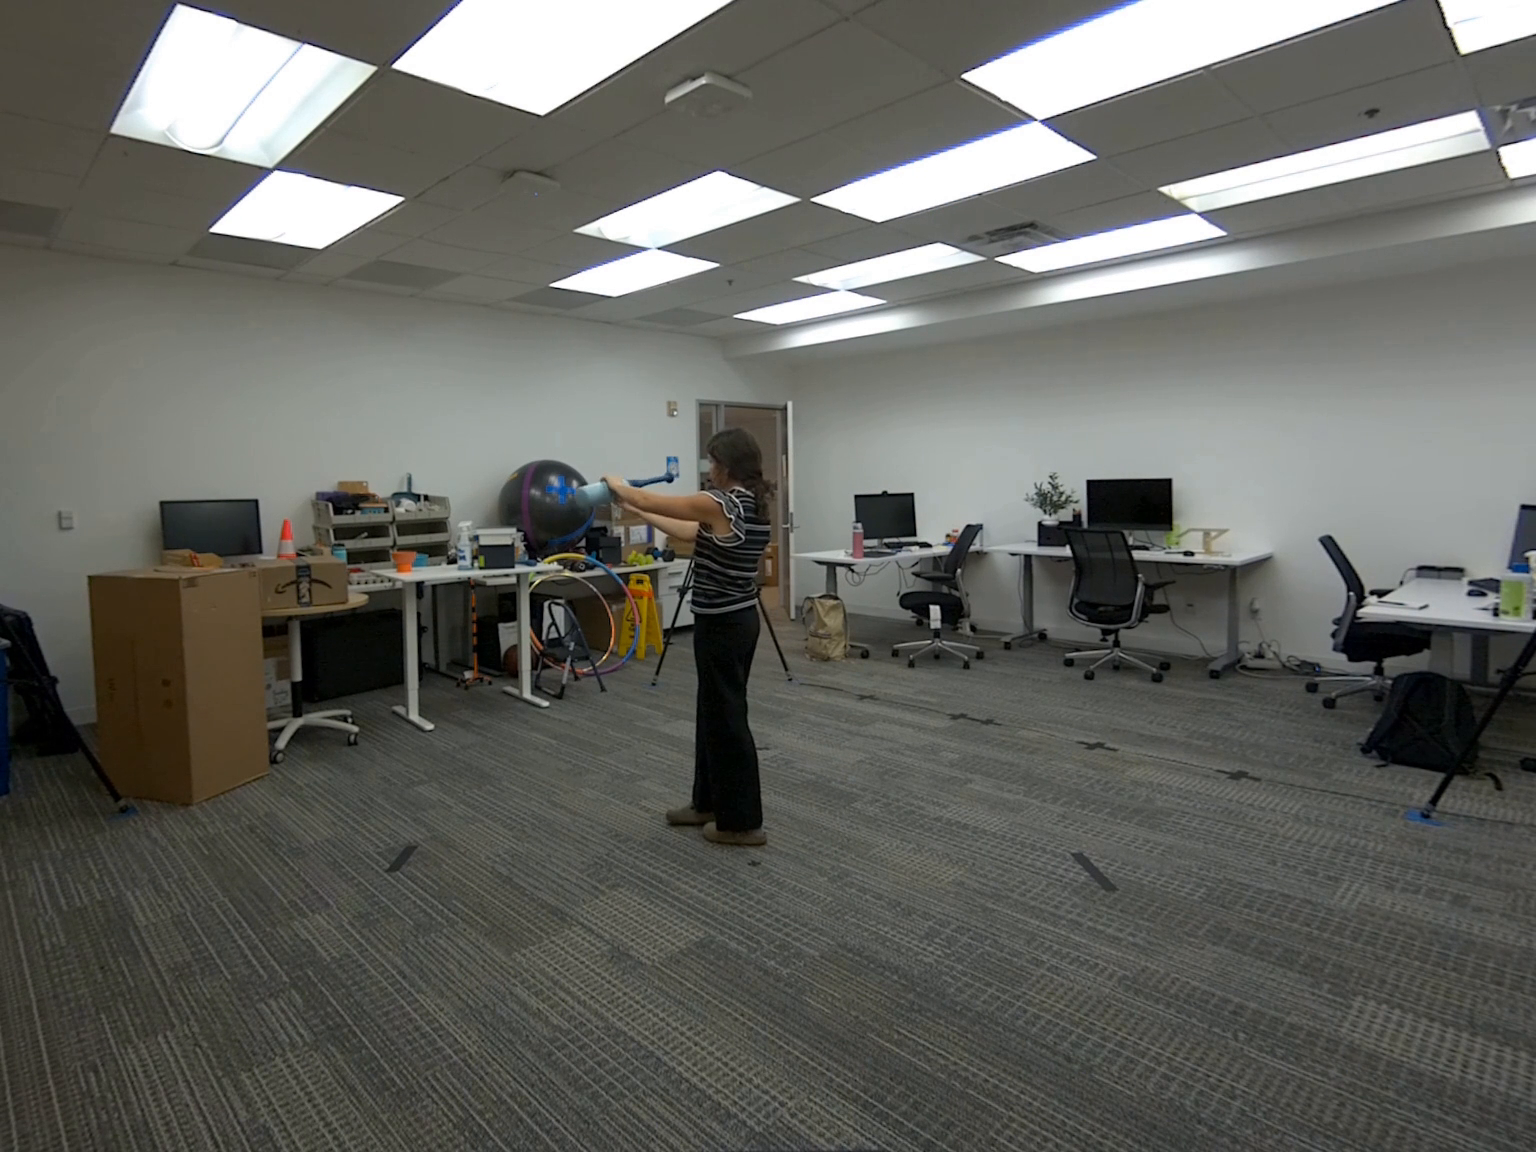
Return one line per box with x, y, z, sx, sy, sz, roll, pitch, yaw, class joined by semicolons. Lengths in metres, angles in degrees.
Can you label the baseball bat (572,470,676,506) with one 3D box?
-0.583;-0.372;3.545;0.091;0.088;0.533;2;15;36;baseball bat
